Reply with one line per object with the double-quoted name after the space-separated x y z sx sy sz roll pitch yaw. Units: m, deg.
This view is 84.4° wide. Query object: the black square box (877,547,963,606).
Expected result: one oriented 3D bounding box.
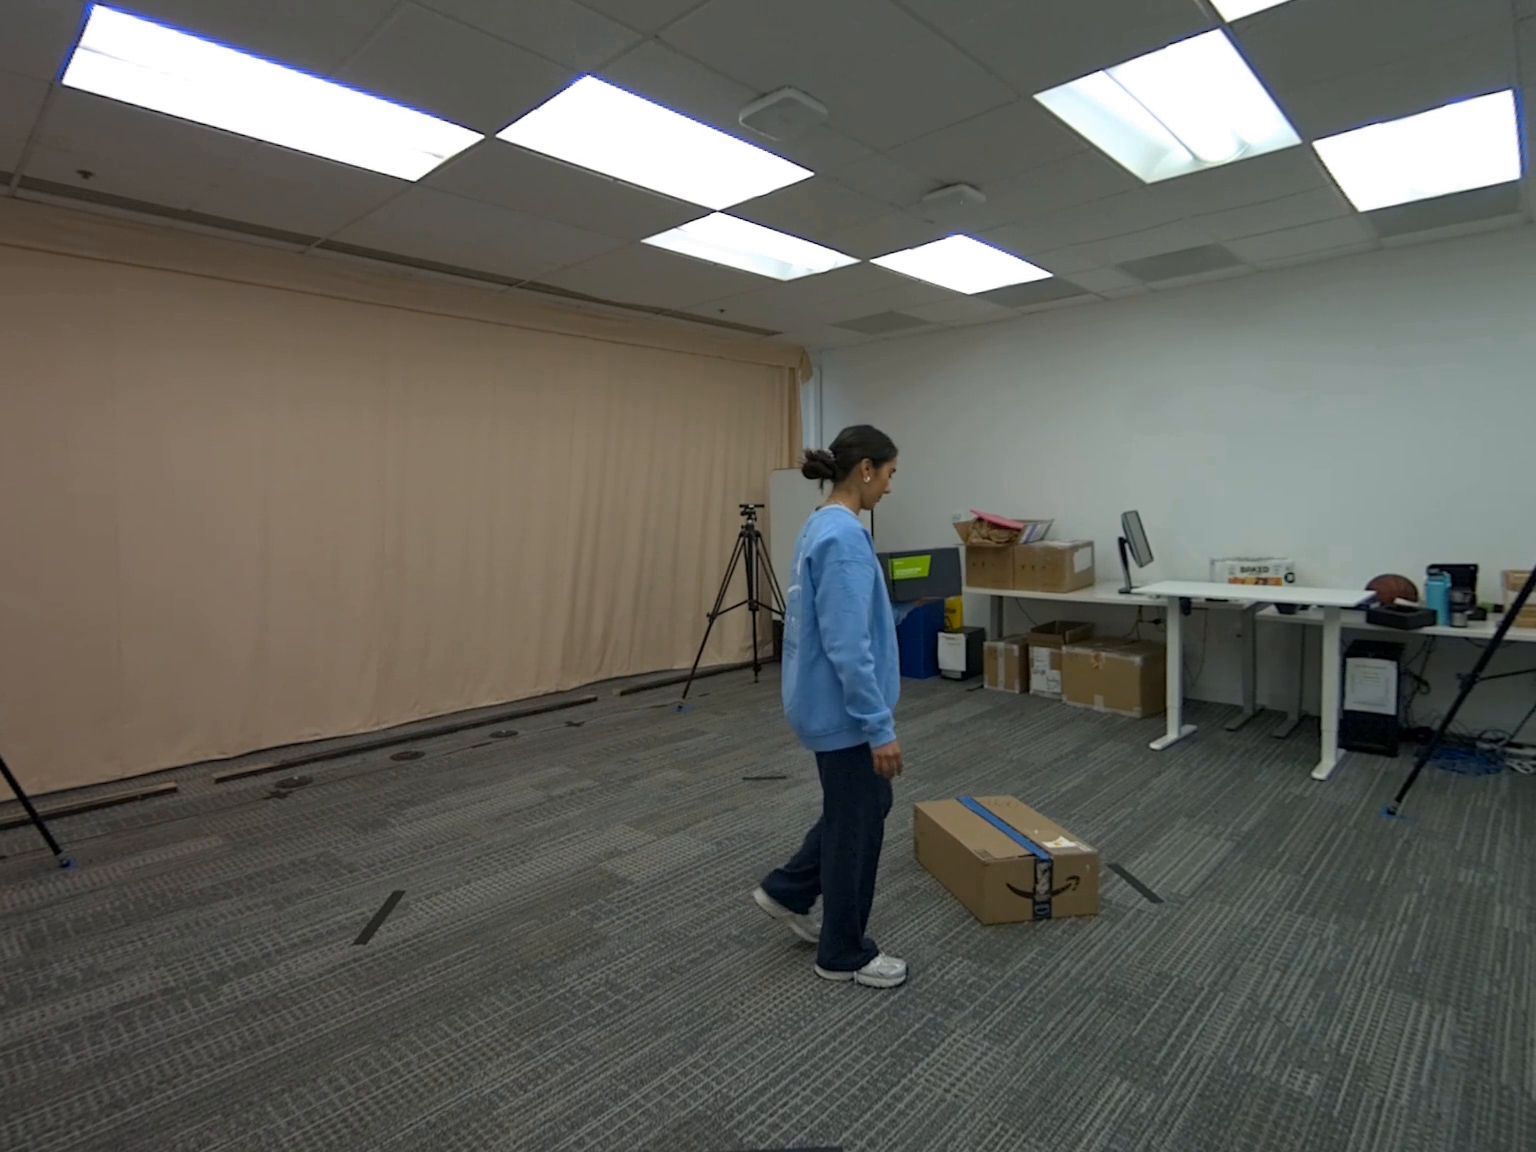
0.485 -0.005 2.772 0.226 0.156 0.219 -7 3 -10 "black square box"
